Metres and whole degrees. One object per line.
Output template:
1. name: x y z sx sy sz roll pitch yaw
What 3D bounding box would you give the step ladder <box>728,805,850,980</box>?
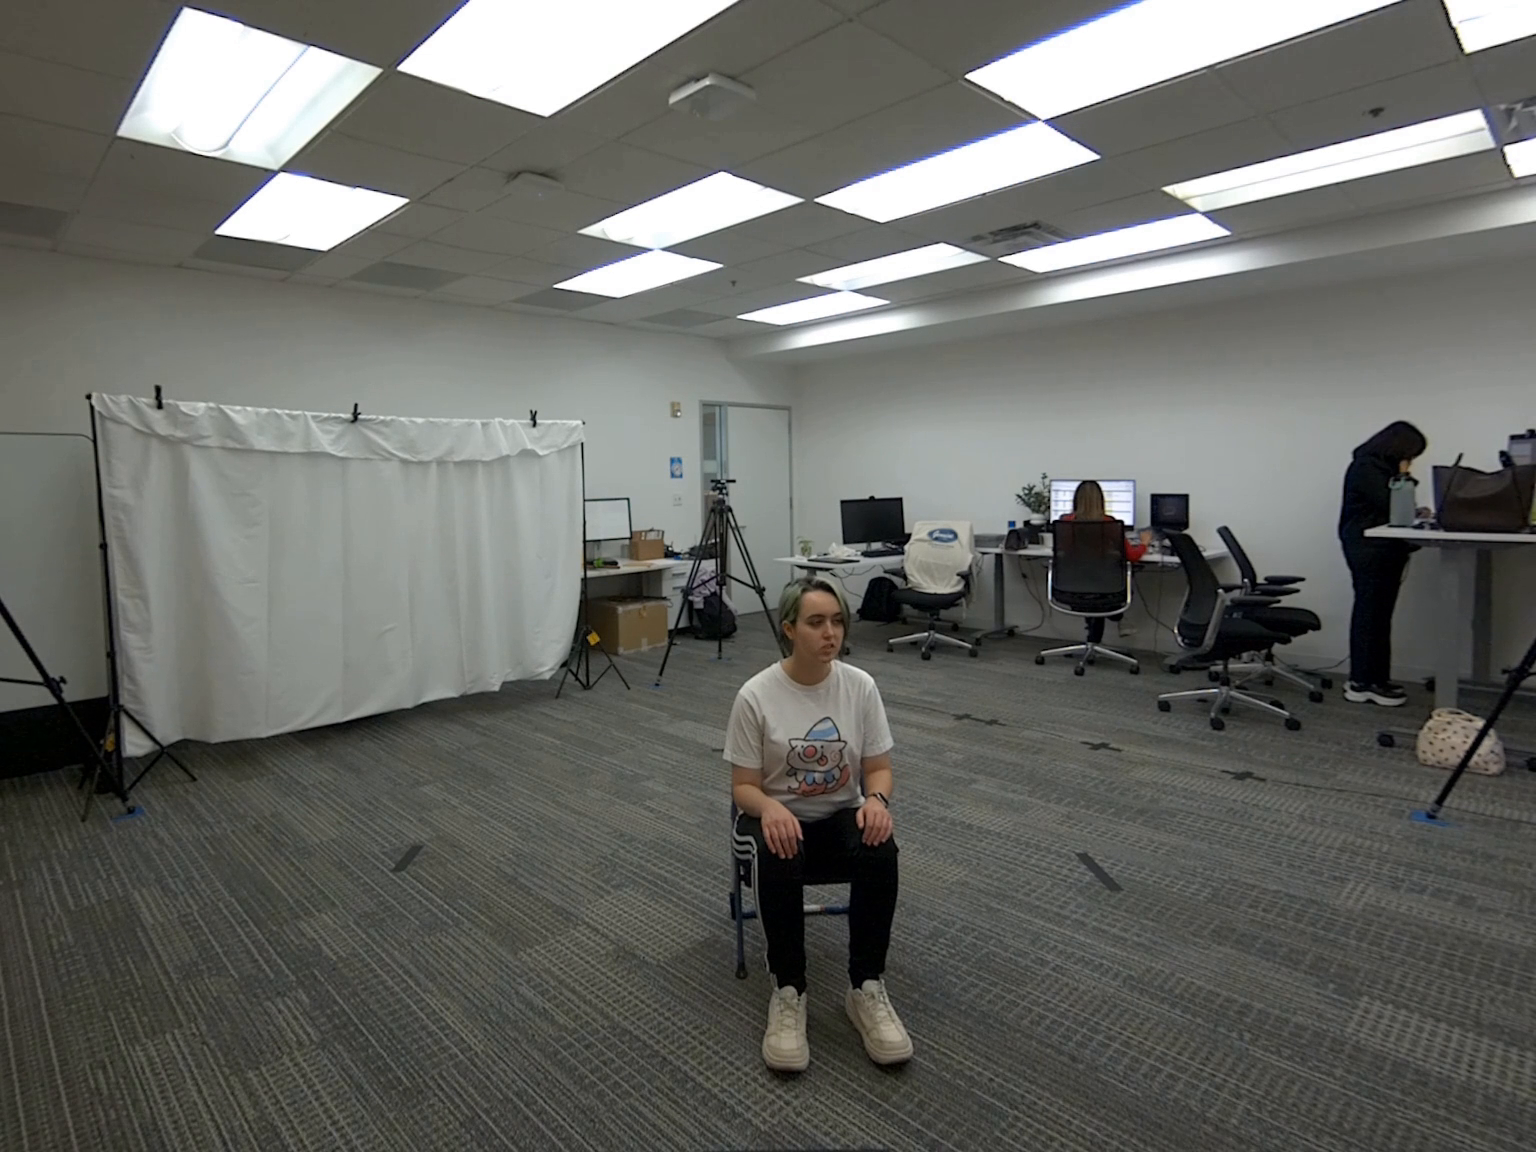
1. step ladder: 0.105 0.811 2.565 0.428 0.603 0.353 -2 6 -6
